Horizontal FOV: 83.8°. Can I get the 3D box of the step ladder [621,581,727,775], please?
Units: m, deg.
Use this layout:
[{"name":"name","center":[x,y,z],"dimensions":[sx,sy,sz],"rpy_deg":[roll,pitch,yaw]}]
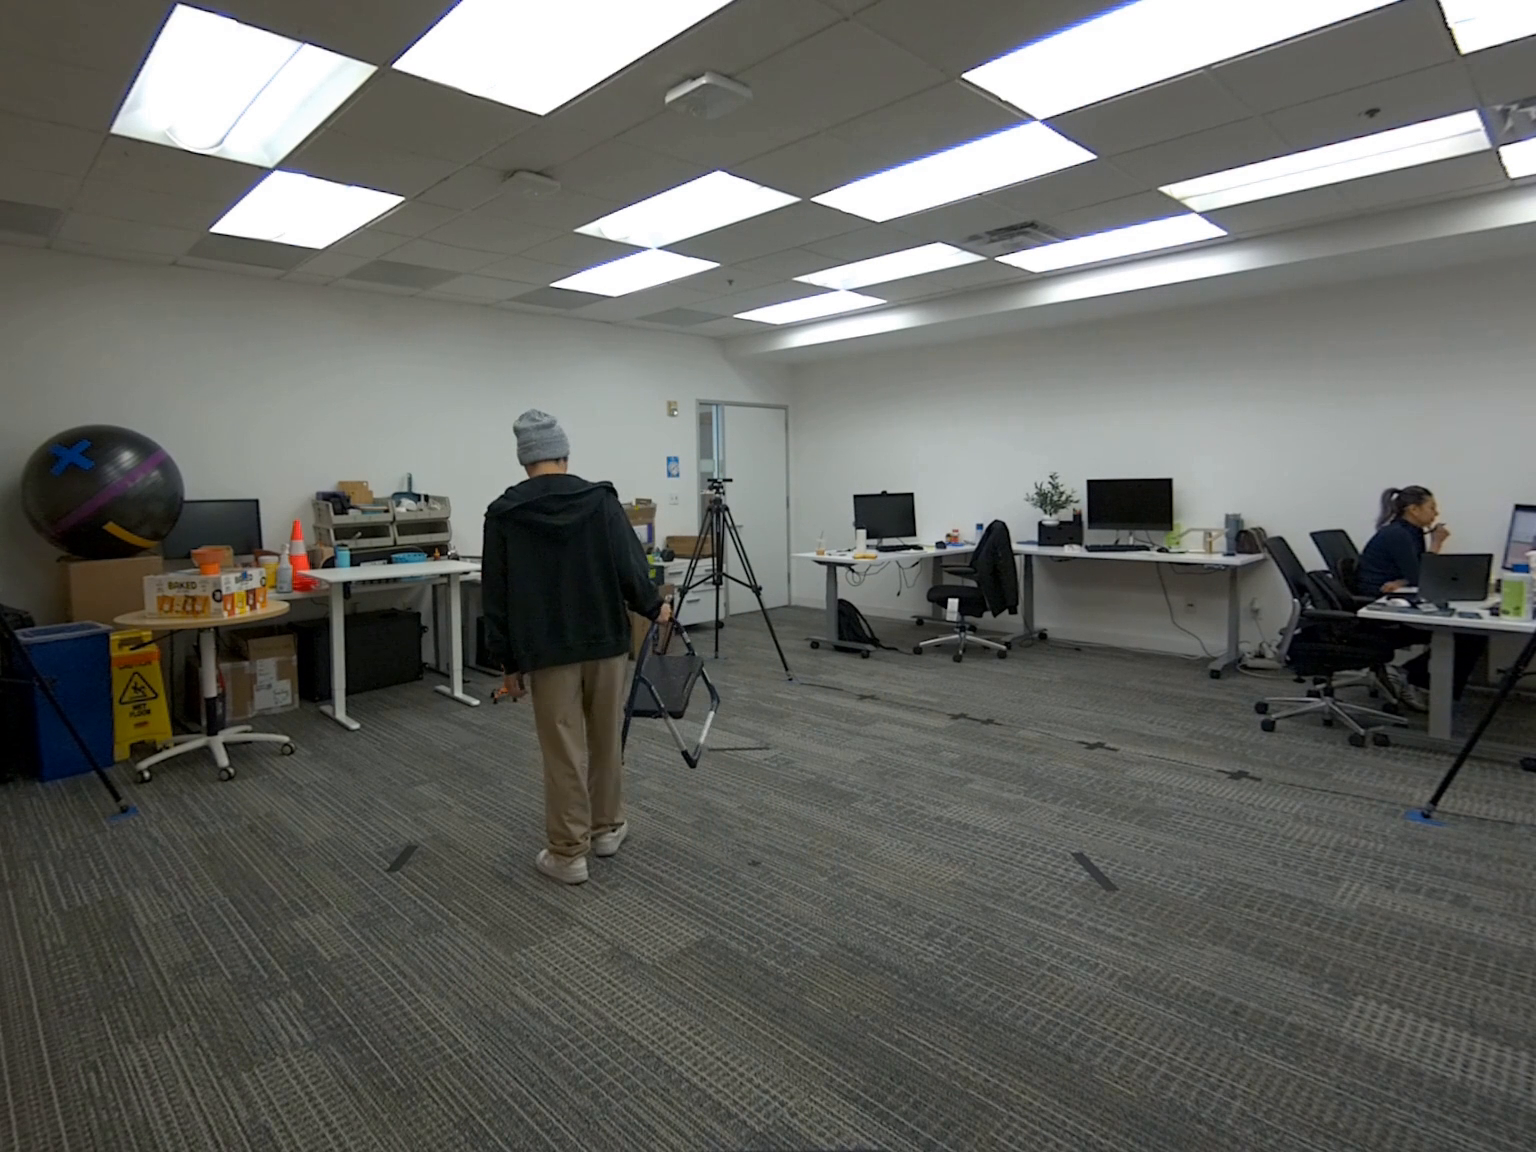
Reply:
[{"name":"step ladder","center":[-0.429,0.393,3.398],"dimensions":[0.354,0.591,0.435],"rpy_deg":[-1,29,15]}]
